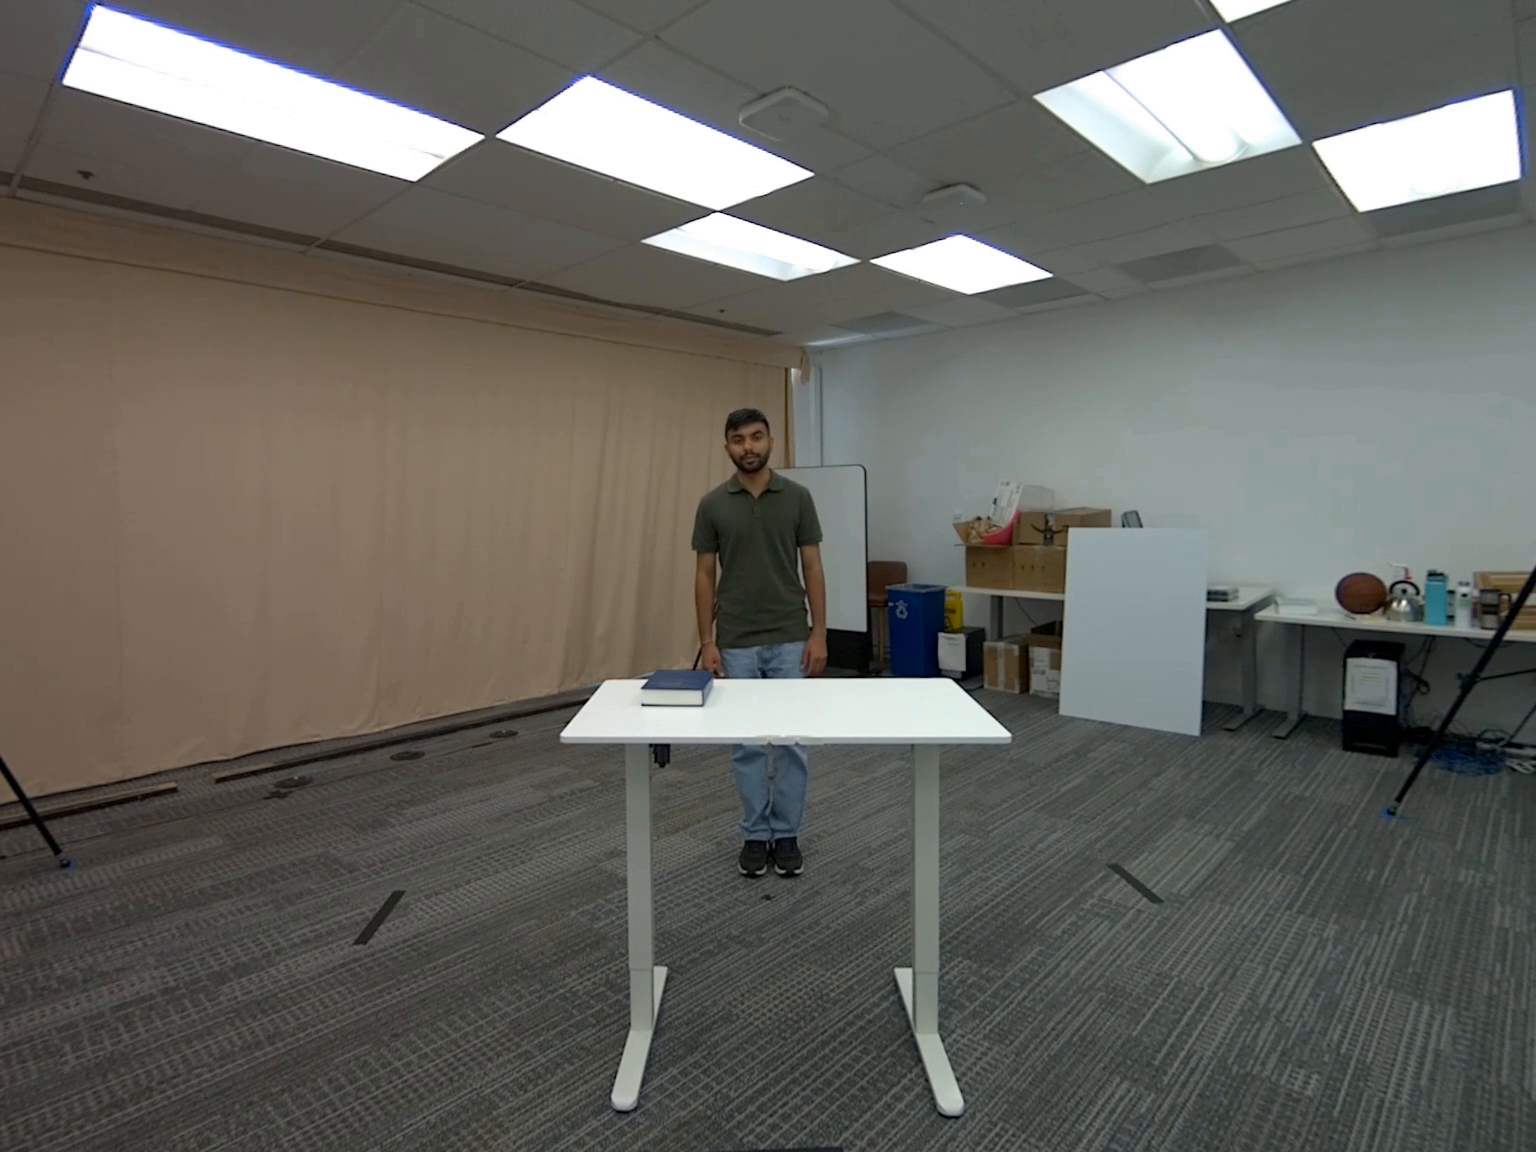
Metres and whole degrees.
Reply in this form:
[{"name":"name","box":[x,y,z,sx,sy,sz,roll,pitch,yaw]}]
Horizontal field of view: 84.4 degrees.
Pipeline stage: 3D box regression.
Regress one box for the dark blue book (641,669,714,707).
[{"name":"dark blue book","box":[-0.230,0.300,2.263,0.164,0.045,0.244,-1,5,4]}]
